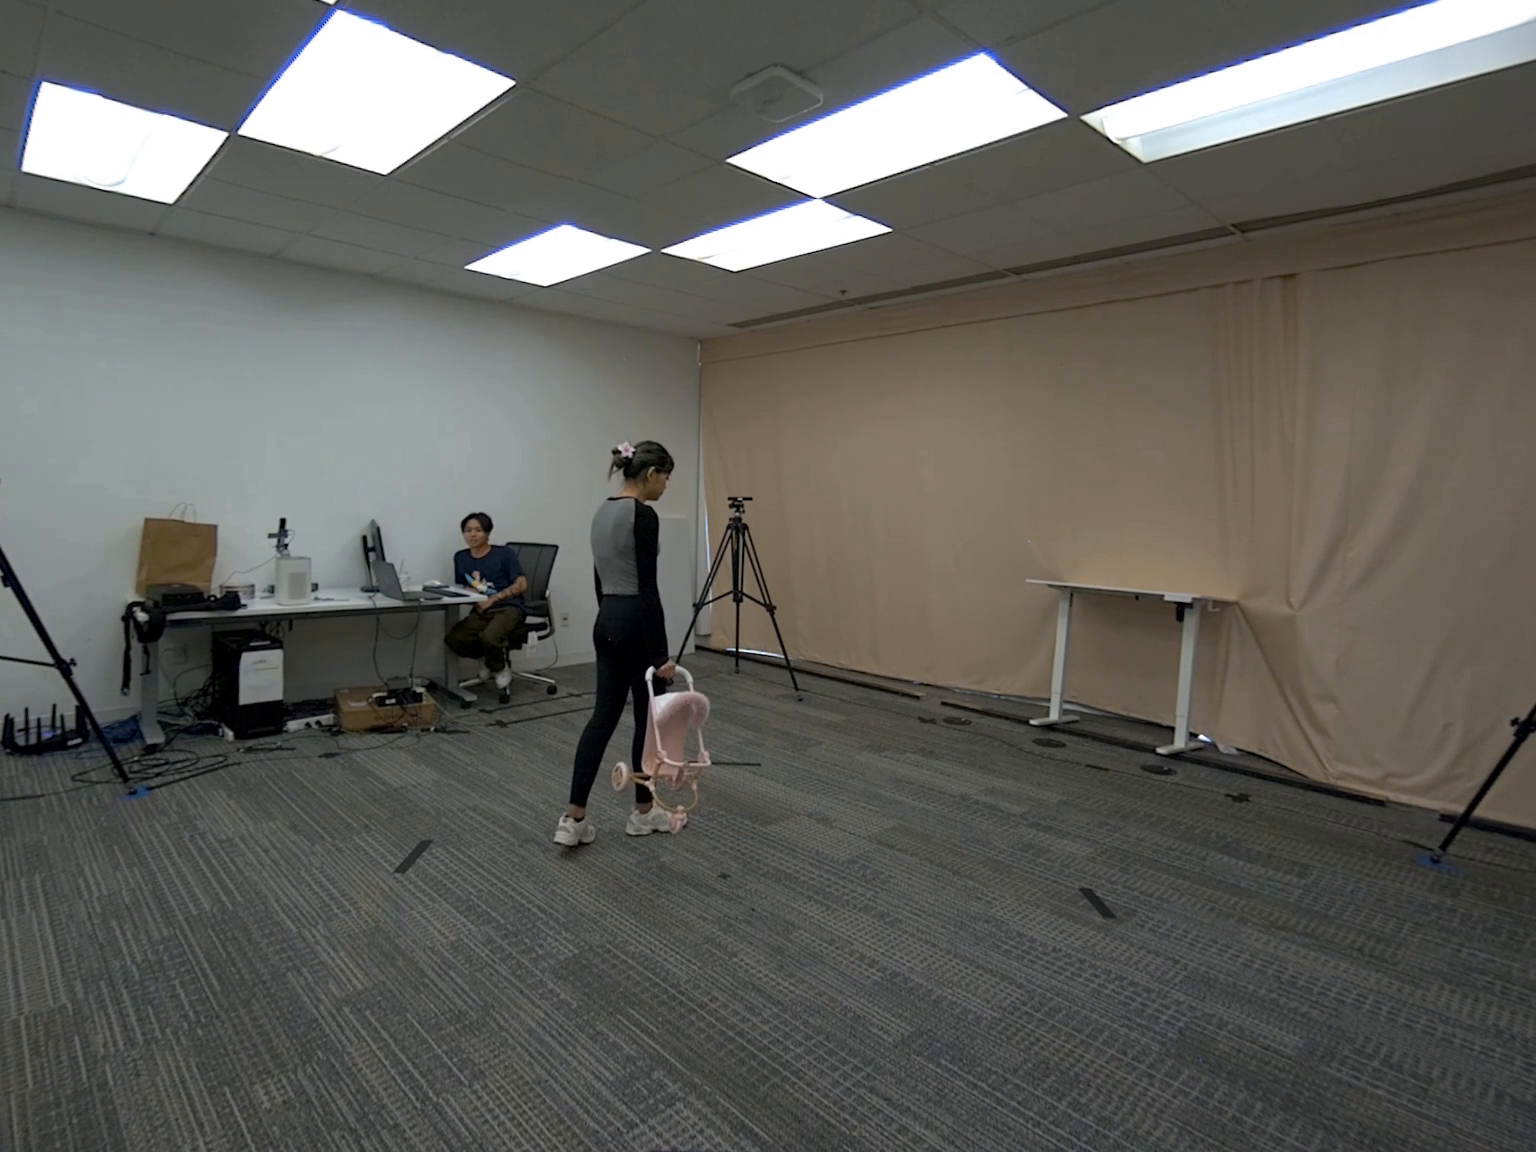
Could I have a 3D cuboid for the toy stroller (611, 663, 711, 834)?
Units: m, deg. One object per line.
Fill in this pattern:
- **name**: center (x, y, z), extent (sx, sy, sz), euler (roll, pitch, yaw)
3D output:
- **toy stroller**: center (-0.359, 0.644, 3.114), extent (0.274, 0.534, 0.350), euler (12, 3, -34)
